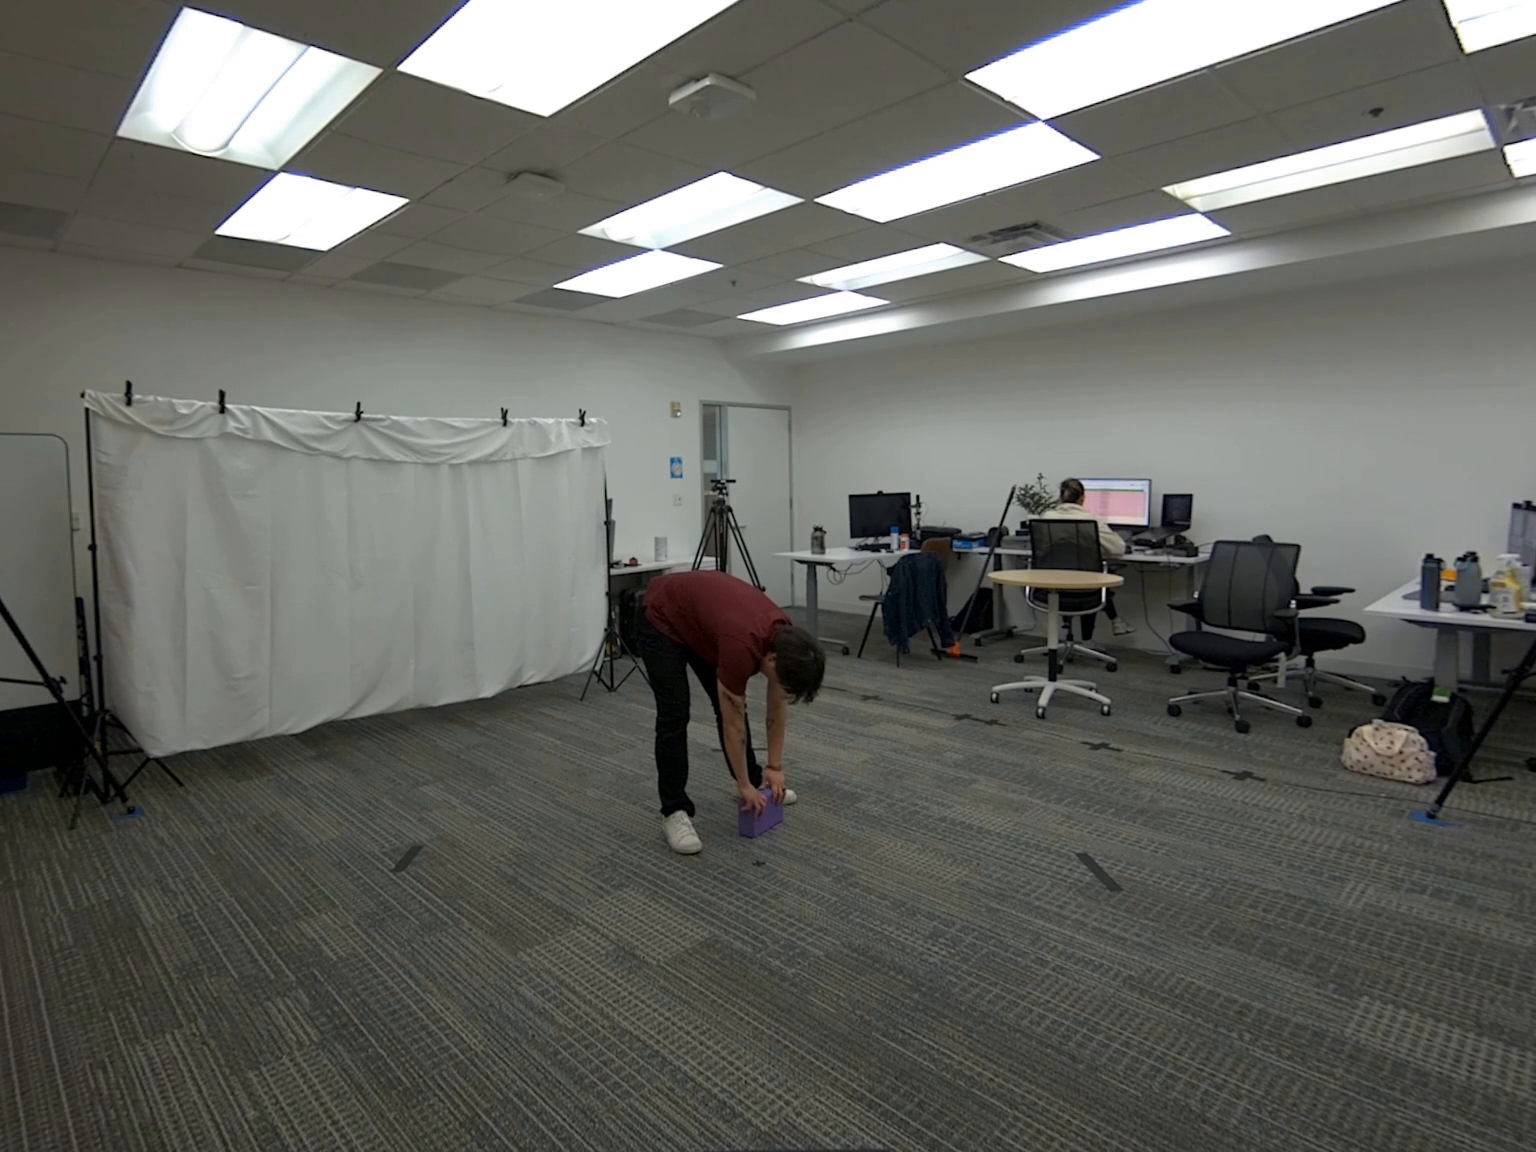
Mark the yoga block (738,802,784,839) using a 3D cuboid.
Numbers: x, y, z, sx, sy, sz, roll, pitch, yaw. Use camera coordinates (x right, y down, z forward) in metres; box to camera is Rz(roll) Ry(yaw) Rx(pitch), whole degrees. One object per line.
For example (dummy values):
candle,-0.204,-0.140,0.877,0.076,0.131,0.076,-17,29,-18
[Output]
yoga block,-0.034,0.935,3.430,0.078,0.149,0.224,-4,3,34
